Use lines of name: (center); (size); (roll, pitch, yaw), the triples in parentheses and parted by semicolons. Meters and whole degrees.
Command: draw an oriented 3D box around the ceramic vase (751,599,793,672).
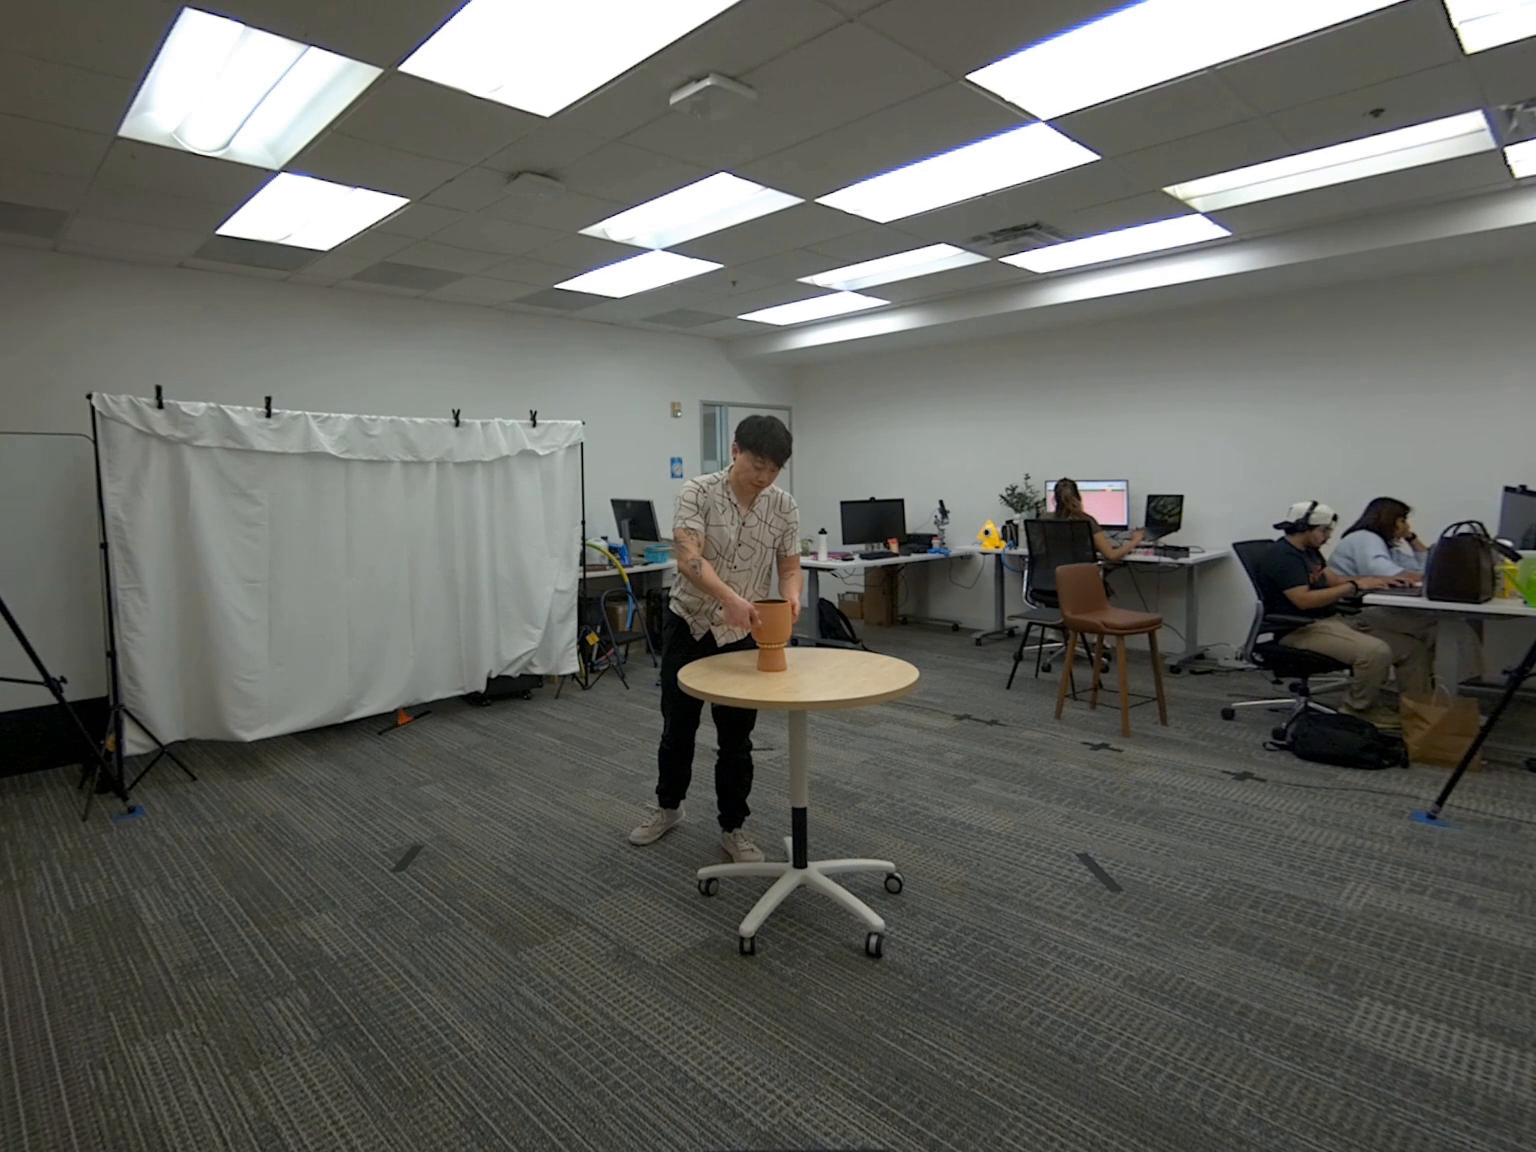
ceramic vase: (0.013, 0.195, 2.775); (0.157, 0.219, 0.136); (-3, 3, -11)
